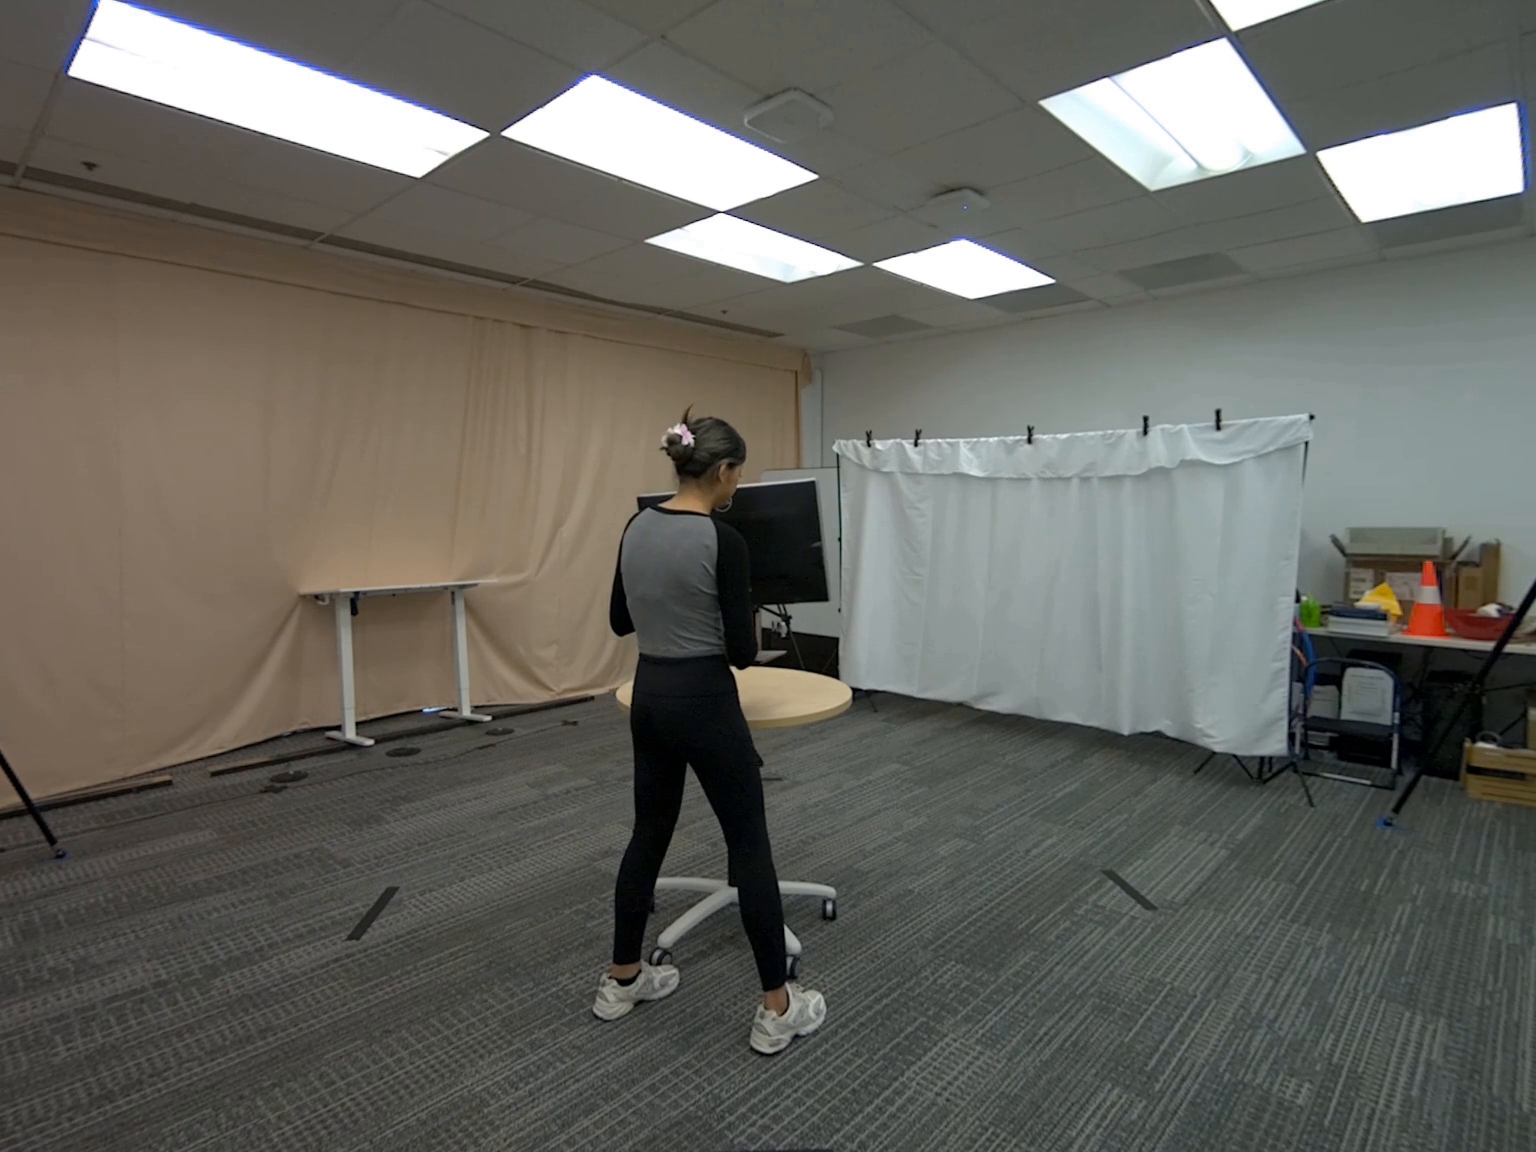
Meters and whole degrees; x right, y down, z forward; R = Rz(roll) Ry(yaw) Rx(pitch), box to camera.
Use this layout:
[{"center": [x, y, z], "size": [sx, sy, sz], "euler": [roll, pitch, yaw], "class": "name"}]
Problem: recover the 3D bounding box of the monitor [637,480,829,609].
[{"center": [-0.105, -0.003, 2.461], "size": [0.548, 0.523, 0.183], "euler": [-4, -2, 17], "class": "monitor"}]
